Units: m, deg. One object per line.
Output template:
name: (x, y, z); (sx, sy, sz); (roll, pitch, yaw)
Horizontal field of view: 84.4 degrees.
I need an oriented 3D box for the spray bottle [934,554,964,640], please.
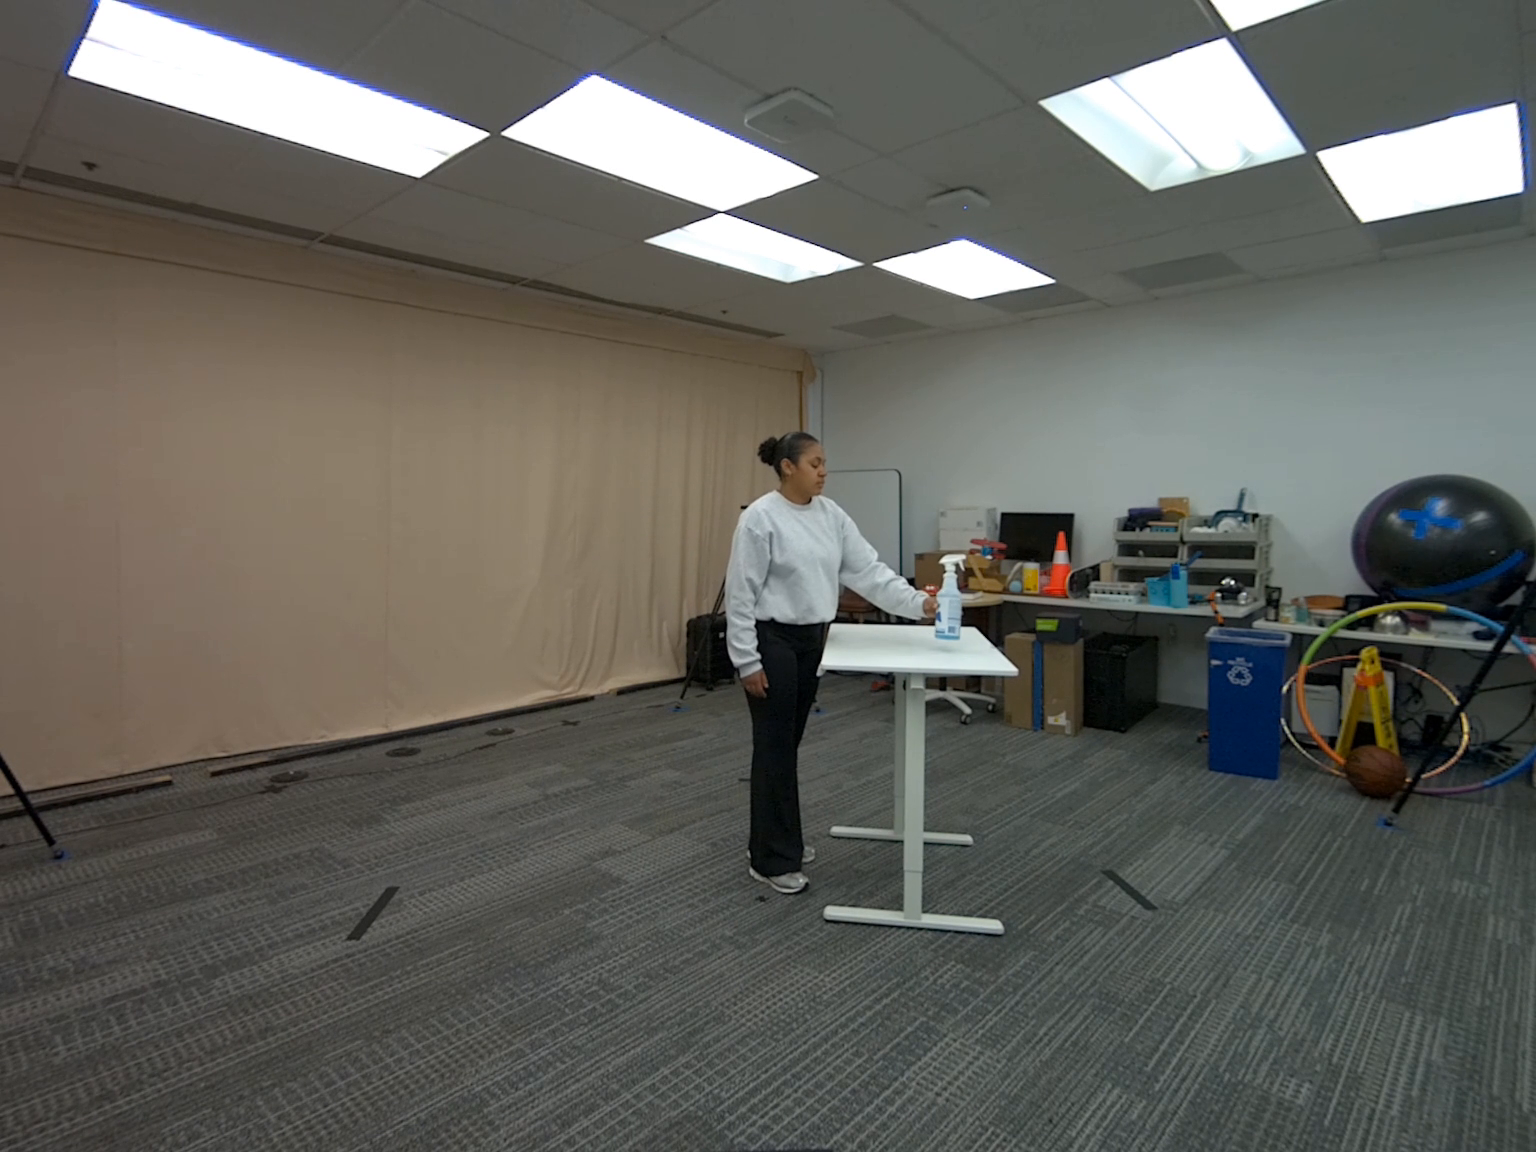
spray bottle: (0.649, 0.079, 2.946); (0.084, 0.298, 0.093); (7, -4, -34)
